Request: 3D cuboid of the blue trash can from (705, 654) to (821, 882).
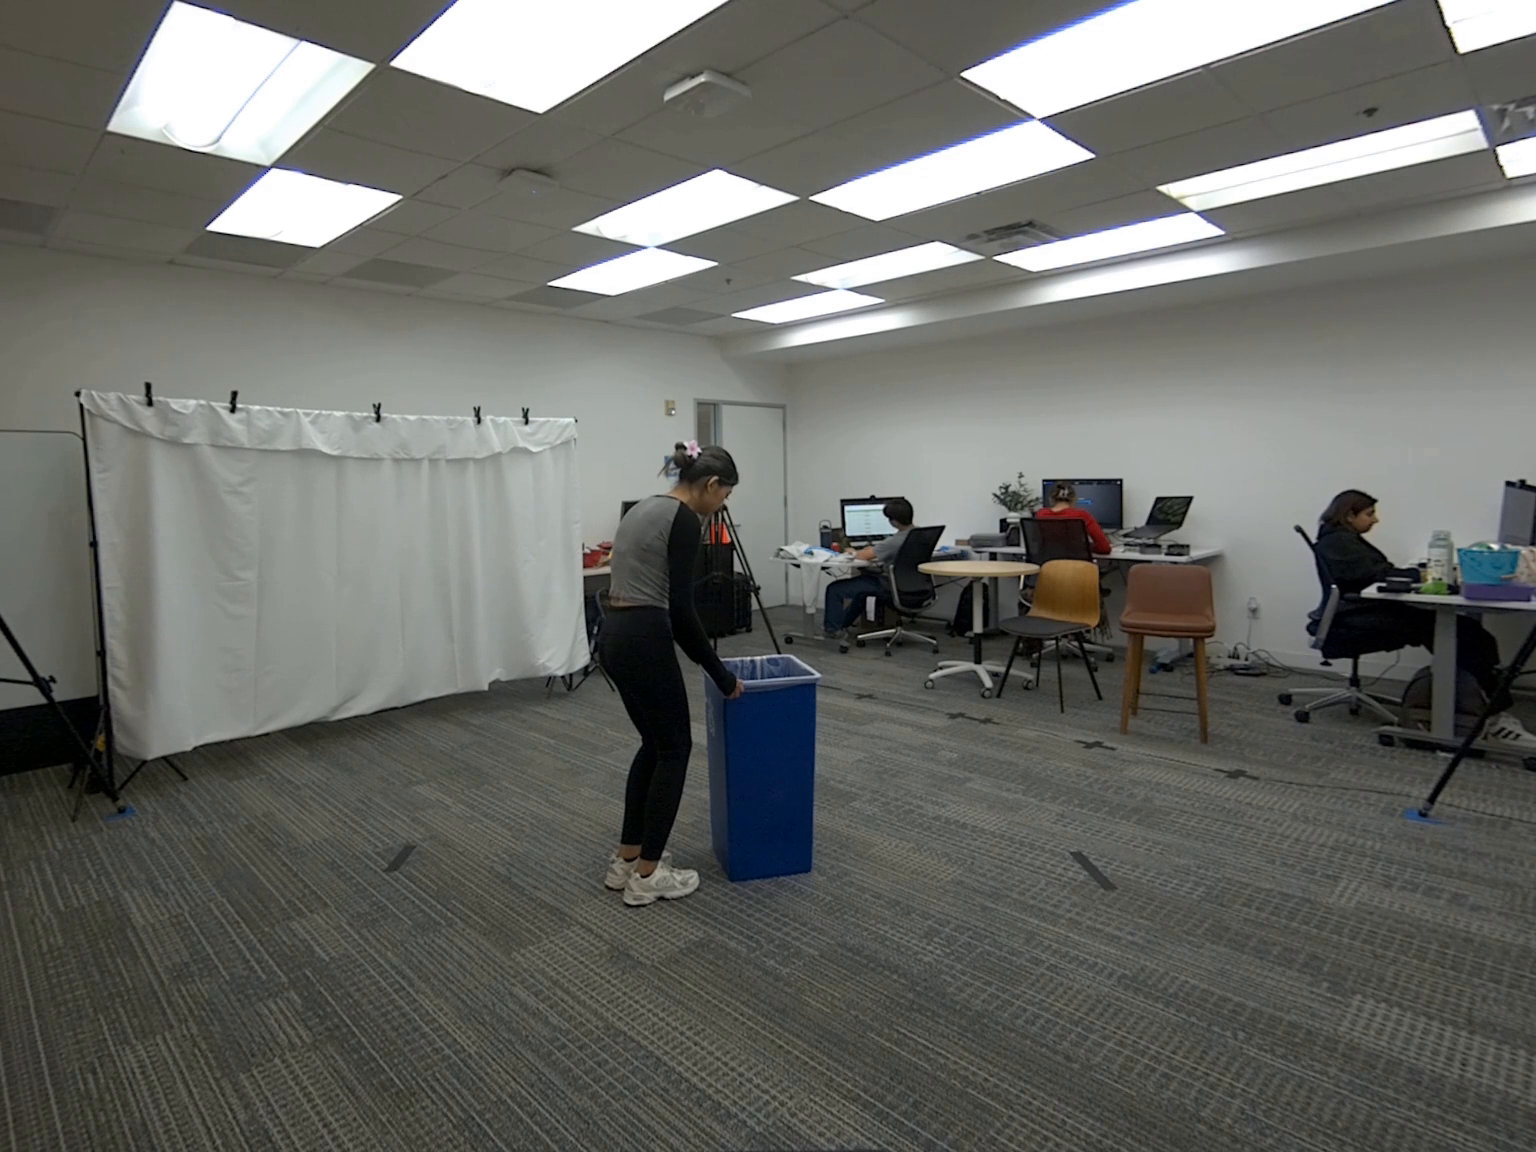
[{"bbox_3d":[-0.037,0.684,3.105,0.369,0.711,0.385,-2,5,-15],"label":"blue trash can"}]
